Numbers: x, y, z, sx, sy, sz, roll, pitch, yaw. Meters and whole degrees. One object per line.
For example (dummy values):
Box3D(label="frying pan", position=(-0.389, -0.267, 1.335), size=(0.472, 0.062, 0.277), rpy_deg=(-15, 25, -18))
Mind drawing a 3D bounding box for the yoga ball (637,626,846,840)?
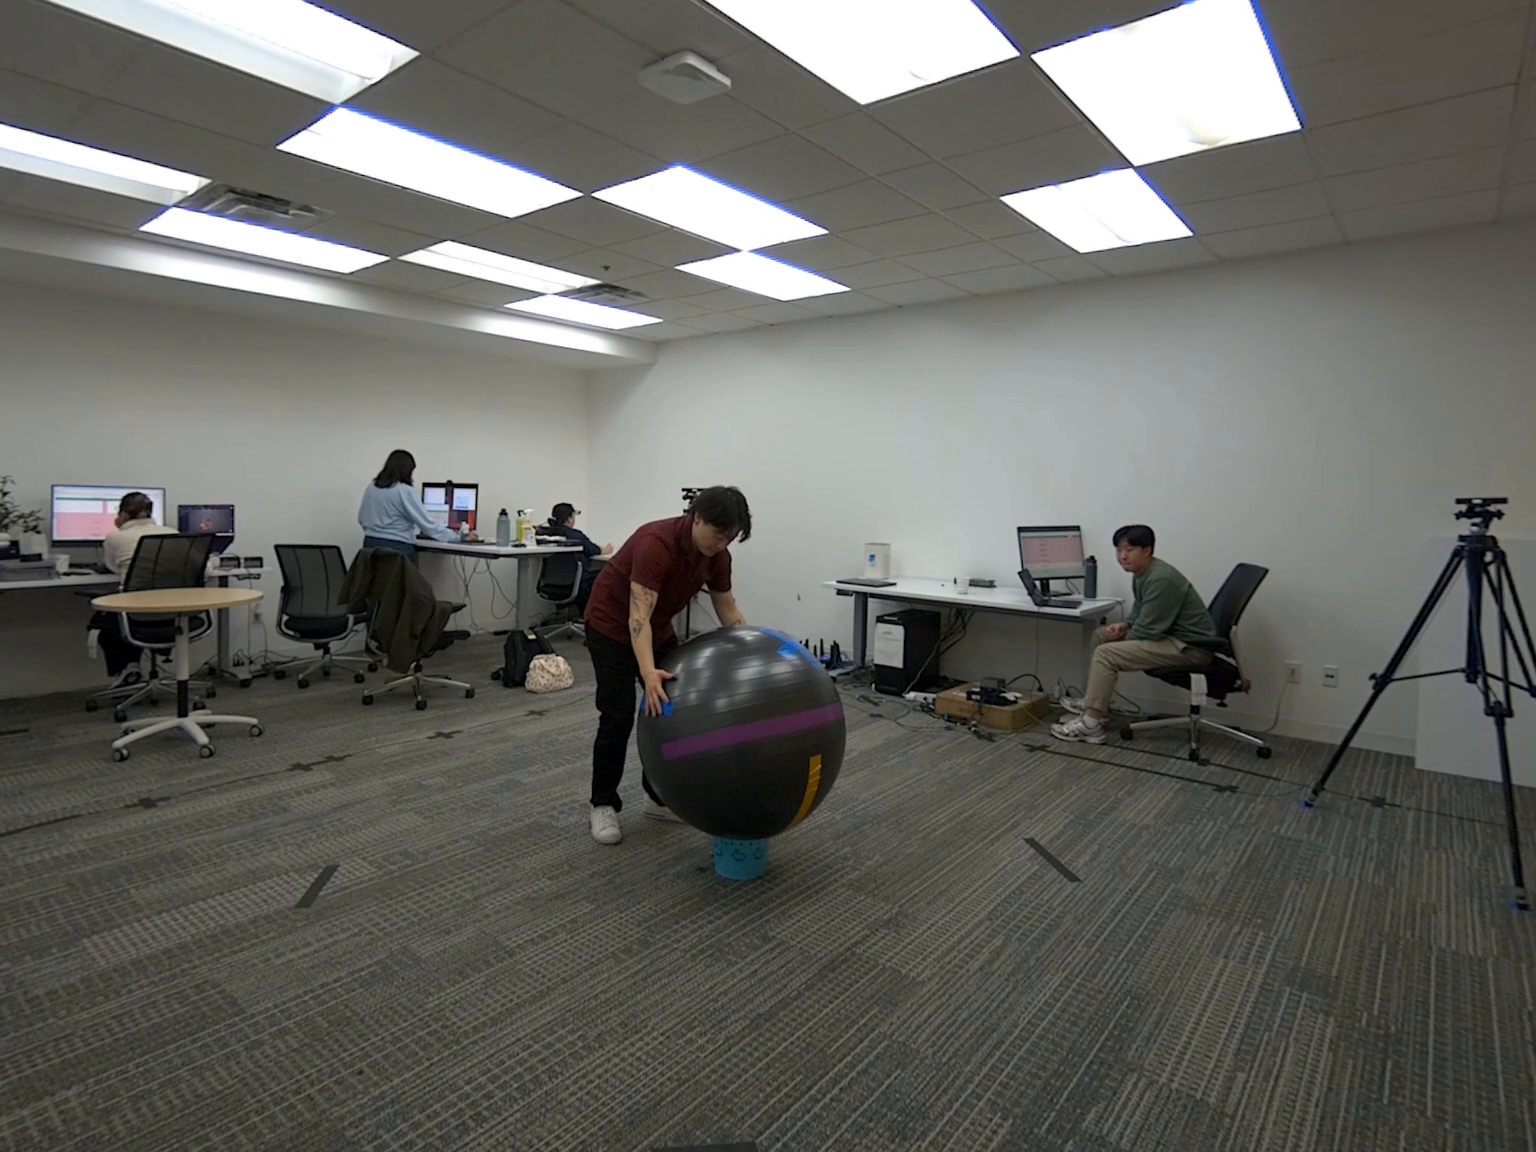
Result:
Box3D(label="yoga ball", position=(-0.109, 0.561, 3.097), size=(0.757, 0.756, 0.762), rpy_deg=(1, 4, -2))
